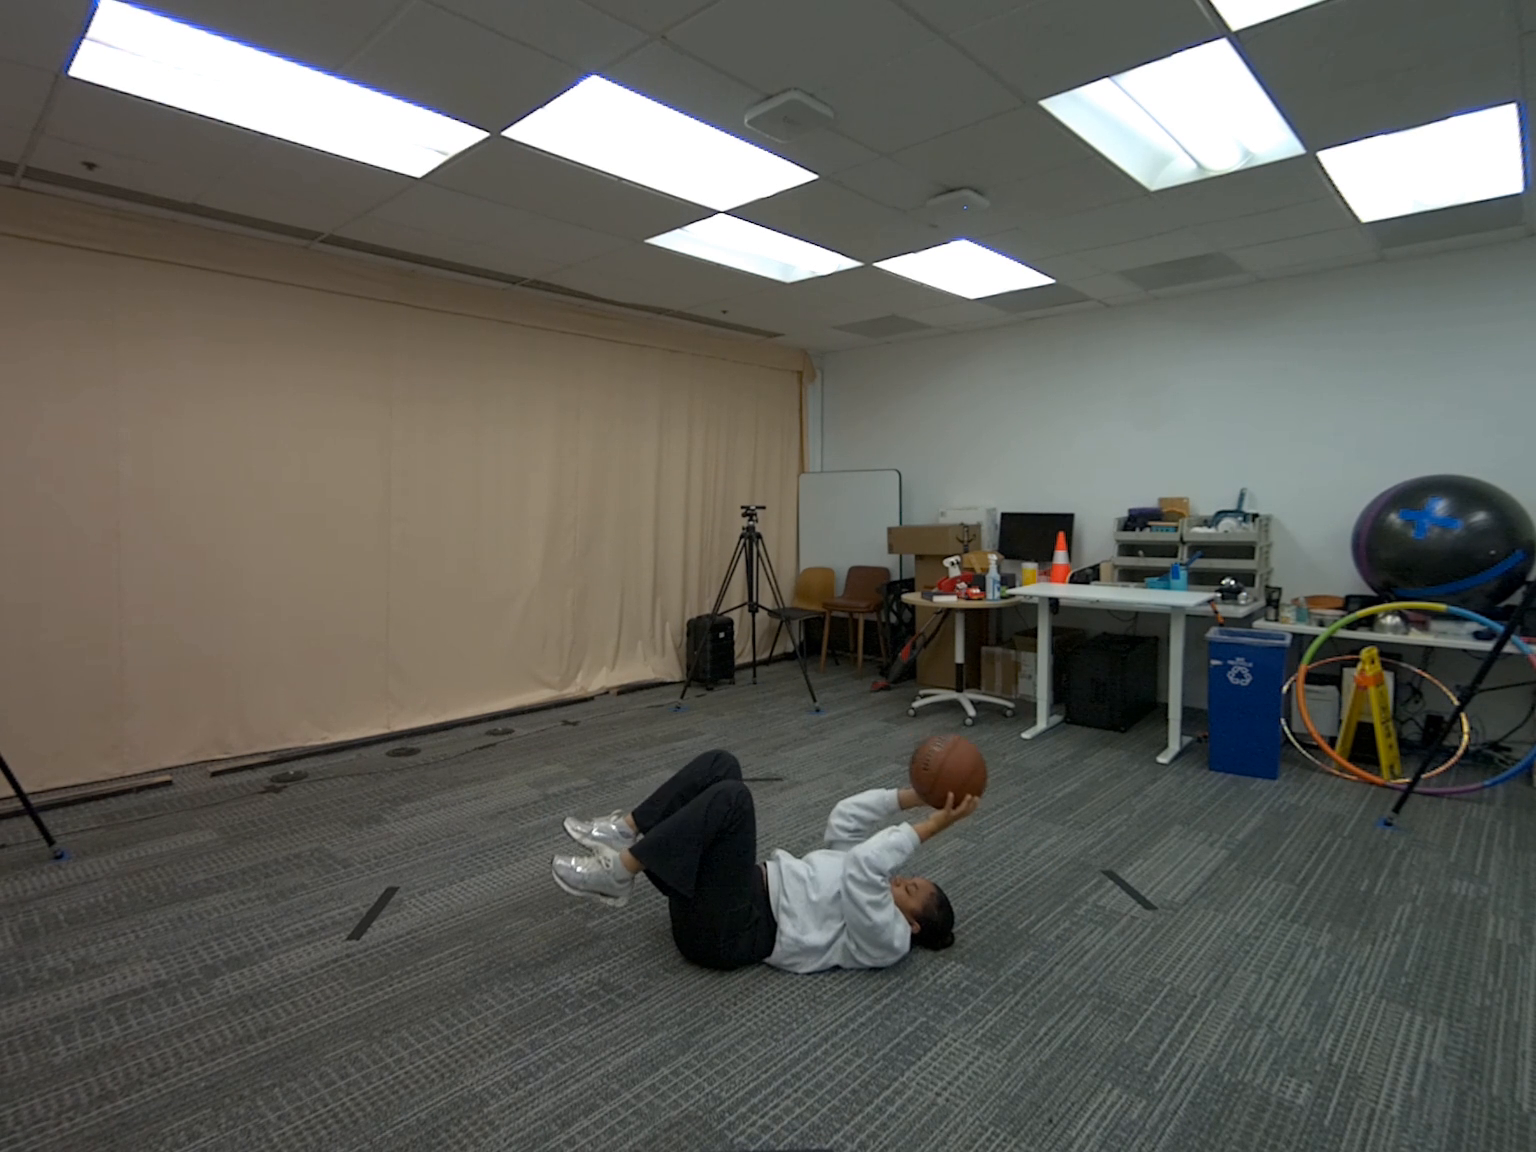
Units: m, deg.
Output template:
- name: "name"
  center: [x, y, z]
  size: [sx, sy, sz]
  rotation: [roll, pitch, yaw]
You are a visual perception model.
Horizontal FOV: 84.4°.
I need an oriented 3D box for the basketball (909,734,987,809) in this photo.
- name: "basketball"
  center: [0.557, 0.624, 2.655]
  size: [0.236, 0.235, 0.237]
  rotation: [0, 4, -2]
